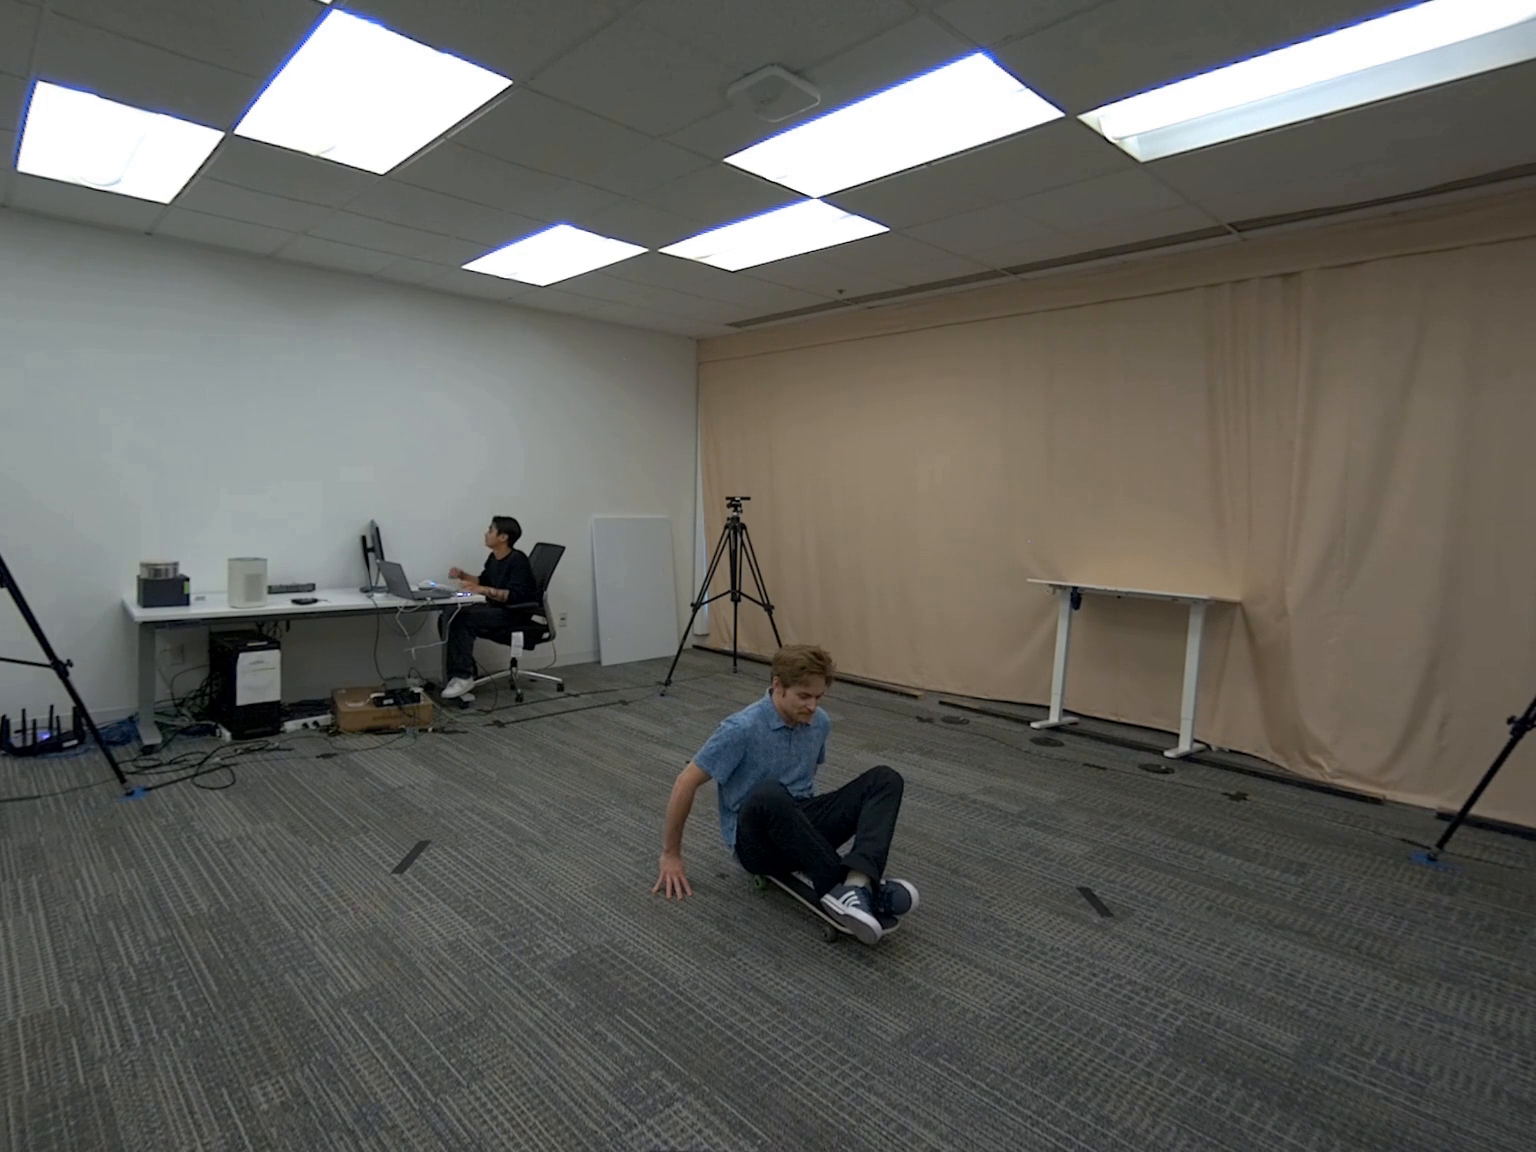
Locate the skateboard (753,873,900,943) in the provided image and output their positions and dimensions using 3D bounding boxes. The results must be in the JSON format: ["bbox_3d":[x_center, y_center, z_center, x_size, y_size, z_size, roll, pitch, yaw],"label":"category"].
[{"bbox_3d":[0.149,1.087,2.877,0.189,0.110,0.804,-1,5,-33],"label":"skateboard"}]
